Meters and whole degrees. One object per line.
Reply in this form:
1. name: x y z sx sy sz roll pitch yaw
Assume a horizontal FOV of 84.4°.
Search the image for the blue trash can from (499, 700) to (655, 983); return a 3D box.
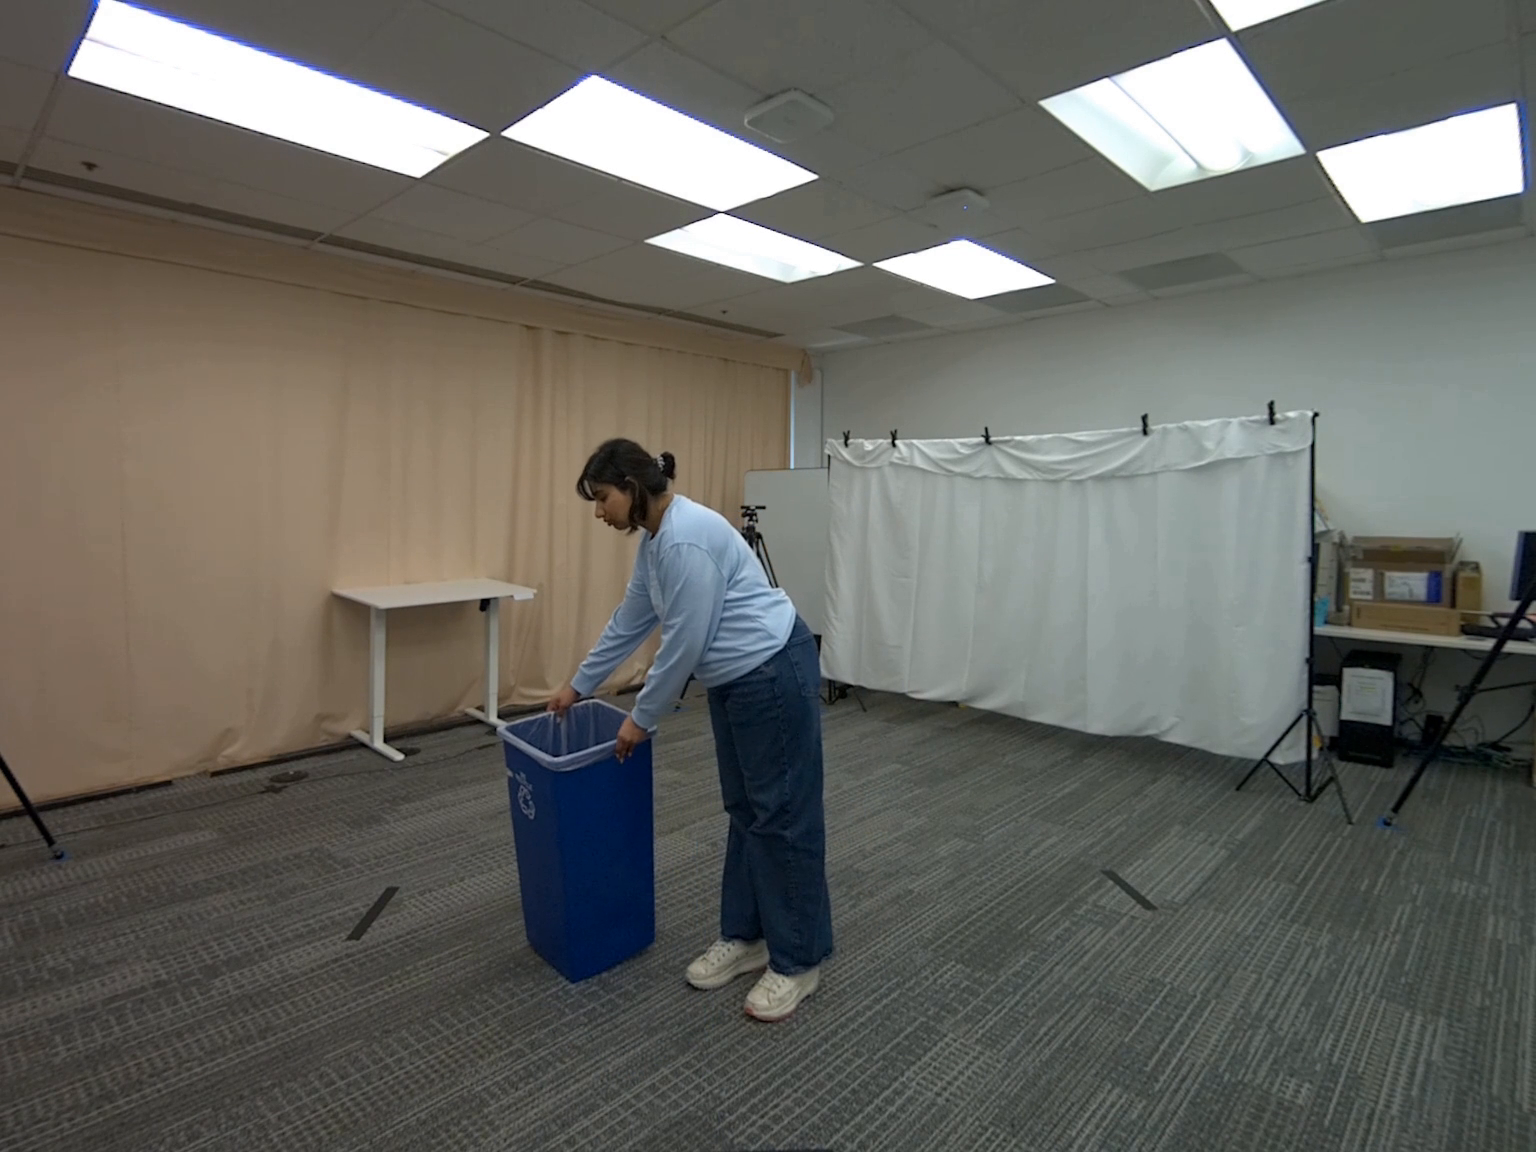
1. blue trash can: -0.564 0.809 2.592 0.367 0.709 0.387 -11 13 -42
